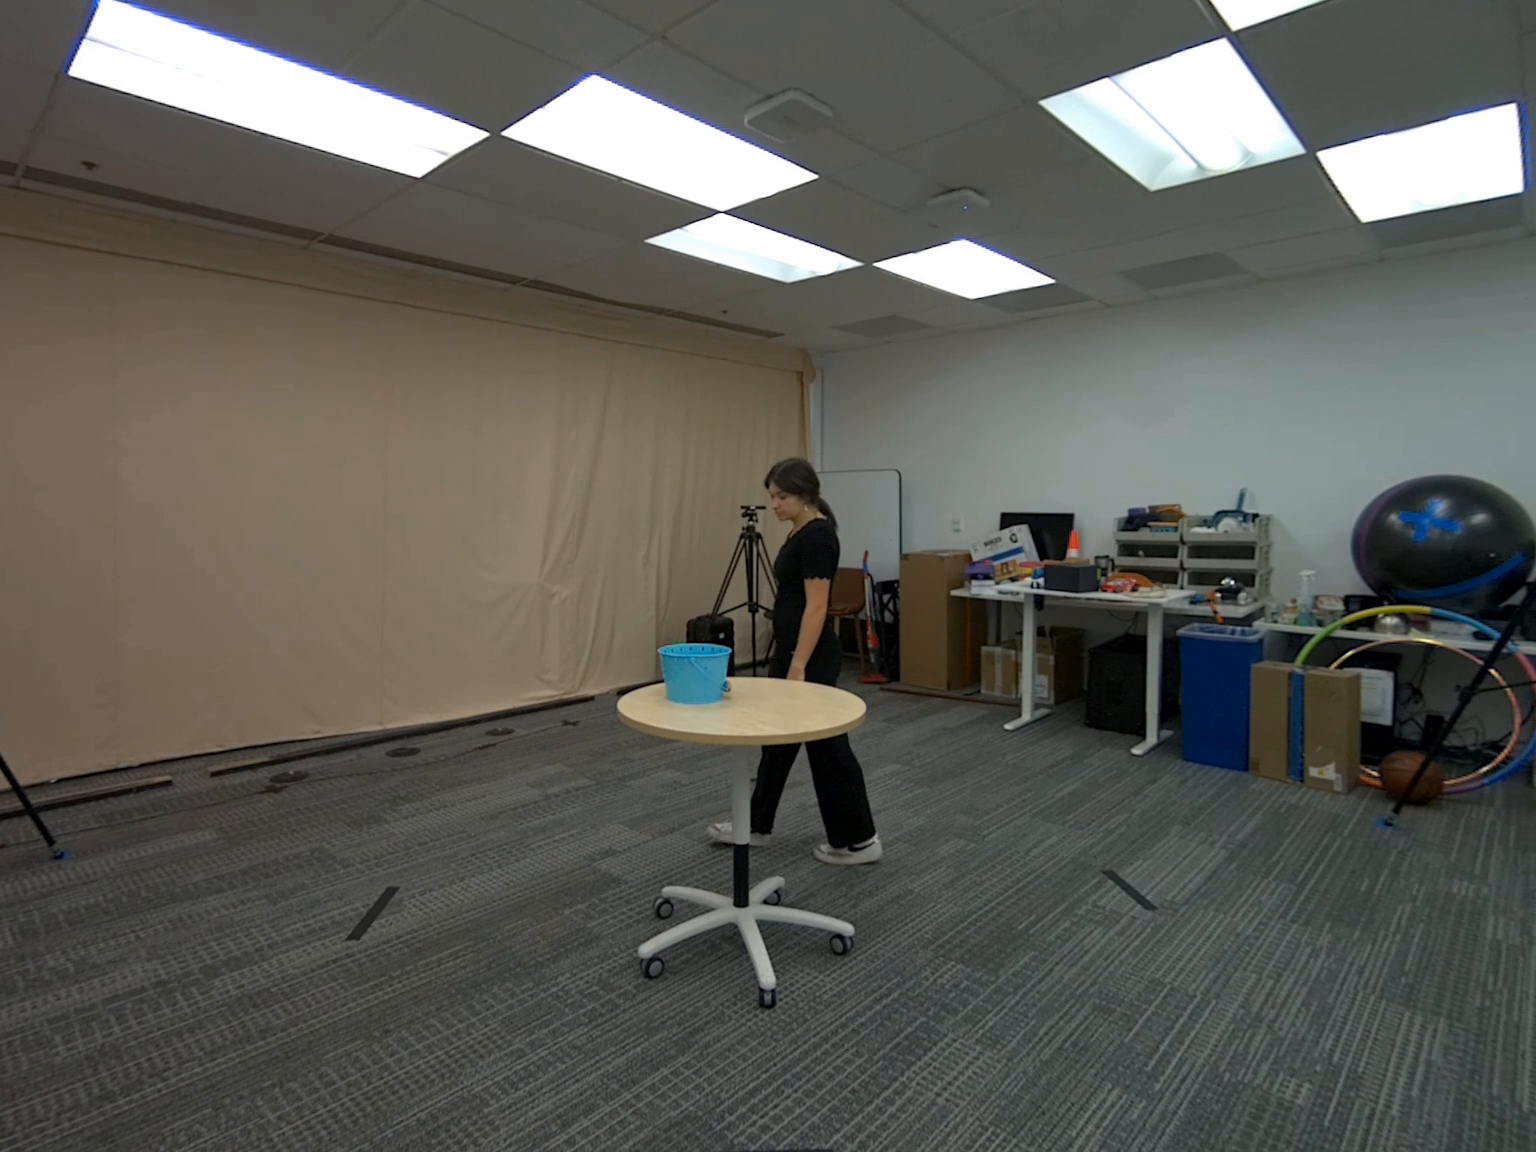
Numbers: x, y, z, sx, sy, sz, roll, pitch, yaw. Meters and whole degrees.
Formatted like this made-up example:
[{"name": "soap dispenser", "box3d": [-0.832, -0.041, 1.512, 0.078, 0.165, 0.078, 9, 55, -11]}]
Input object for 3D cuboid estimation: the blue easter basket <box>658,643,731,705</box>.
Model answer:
[{"name": "blue easter basket", "box3d": [-0.227, 0.315, 2.659, 0.243, 0.156, 0.244, 0, 2, -2]}]
